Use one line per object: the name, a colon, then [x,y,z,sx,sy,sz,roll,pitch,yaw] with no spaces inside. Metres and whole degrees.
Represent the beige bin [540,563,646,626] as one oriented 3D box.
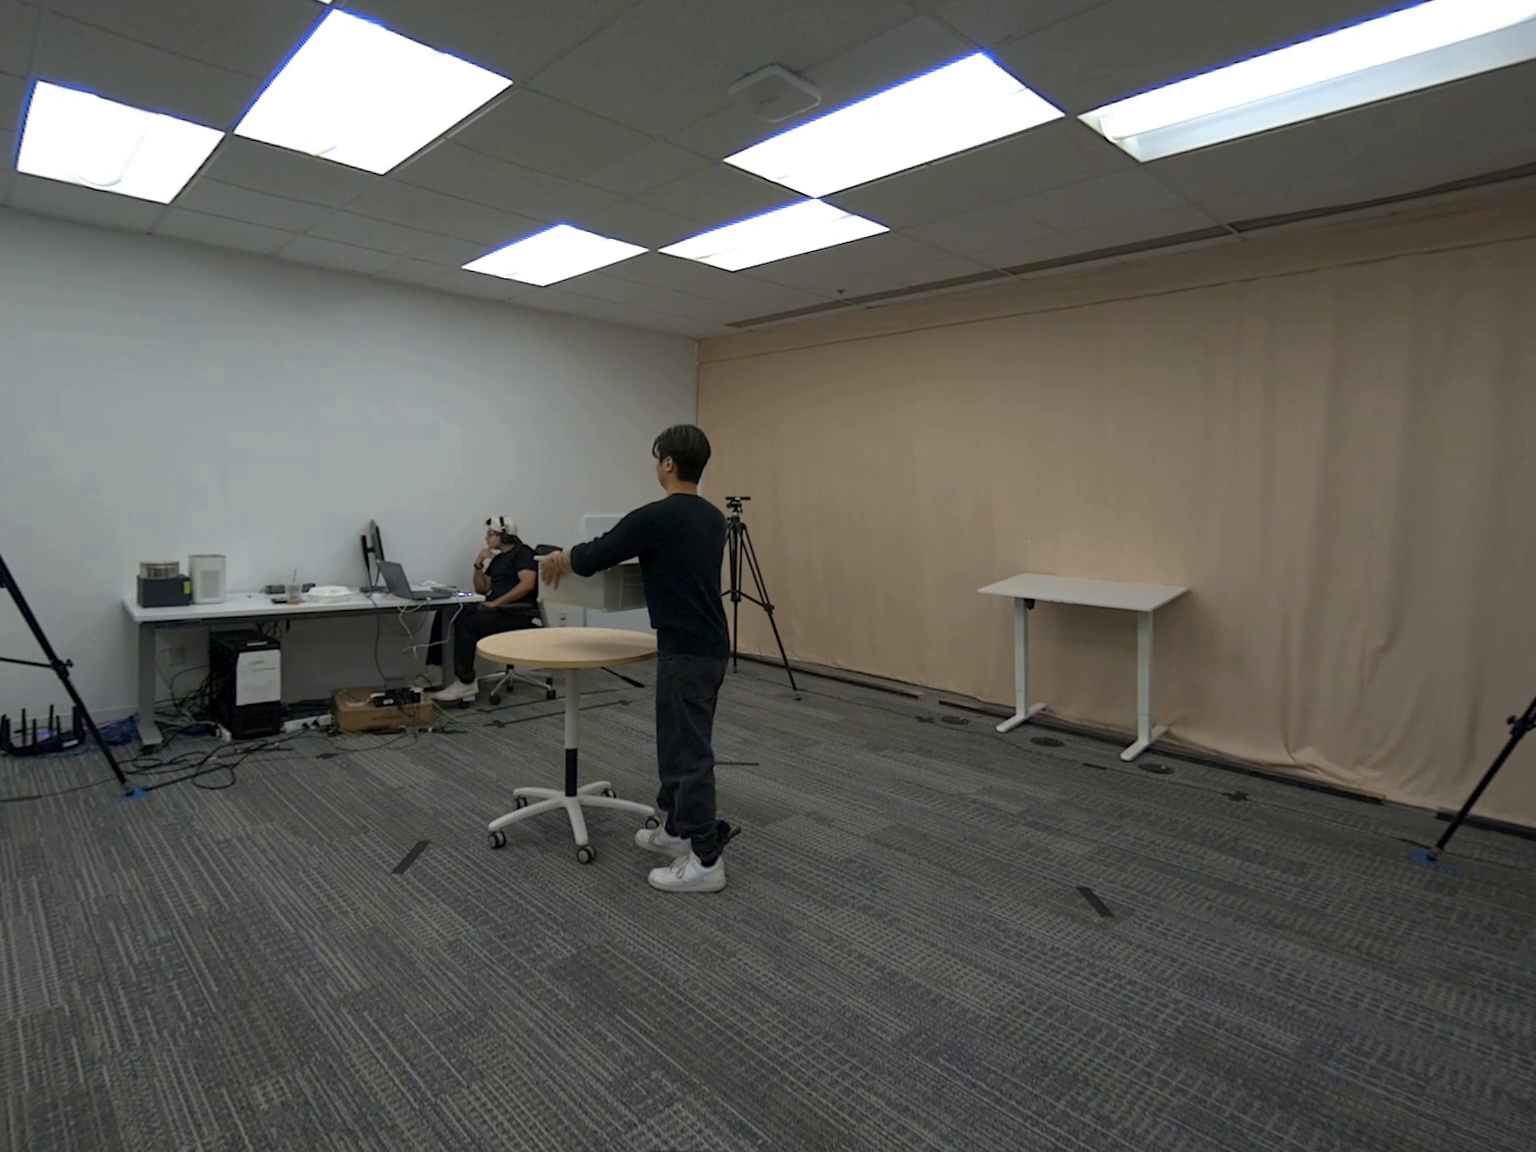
beige bin: [-0.652,0.020,3.364,0.433,0.188,0.369,6,8,37]
